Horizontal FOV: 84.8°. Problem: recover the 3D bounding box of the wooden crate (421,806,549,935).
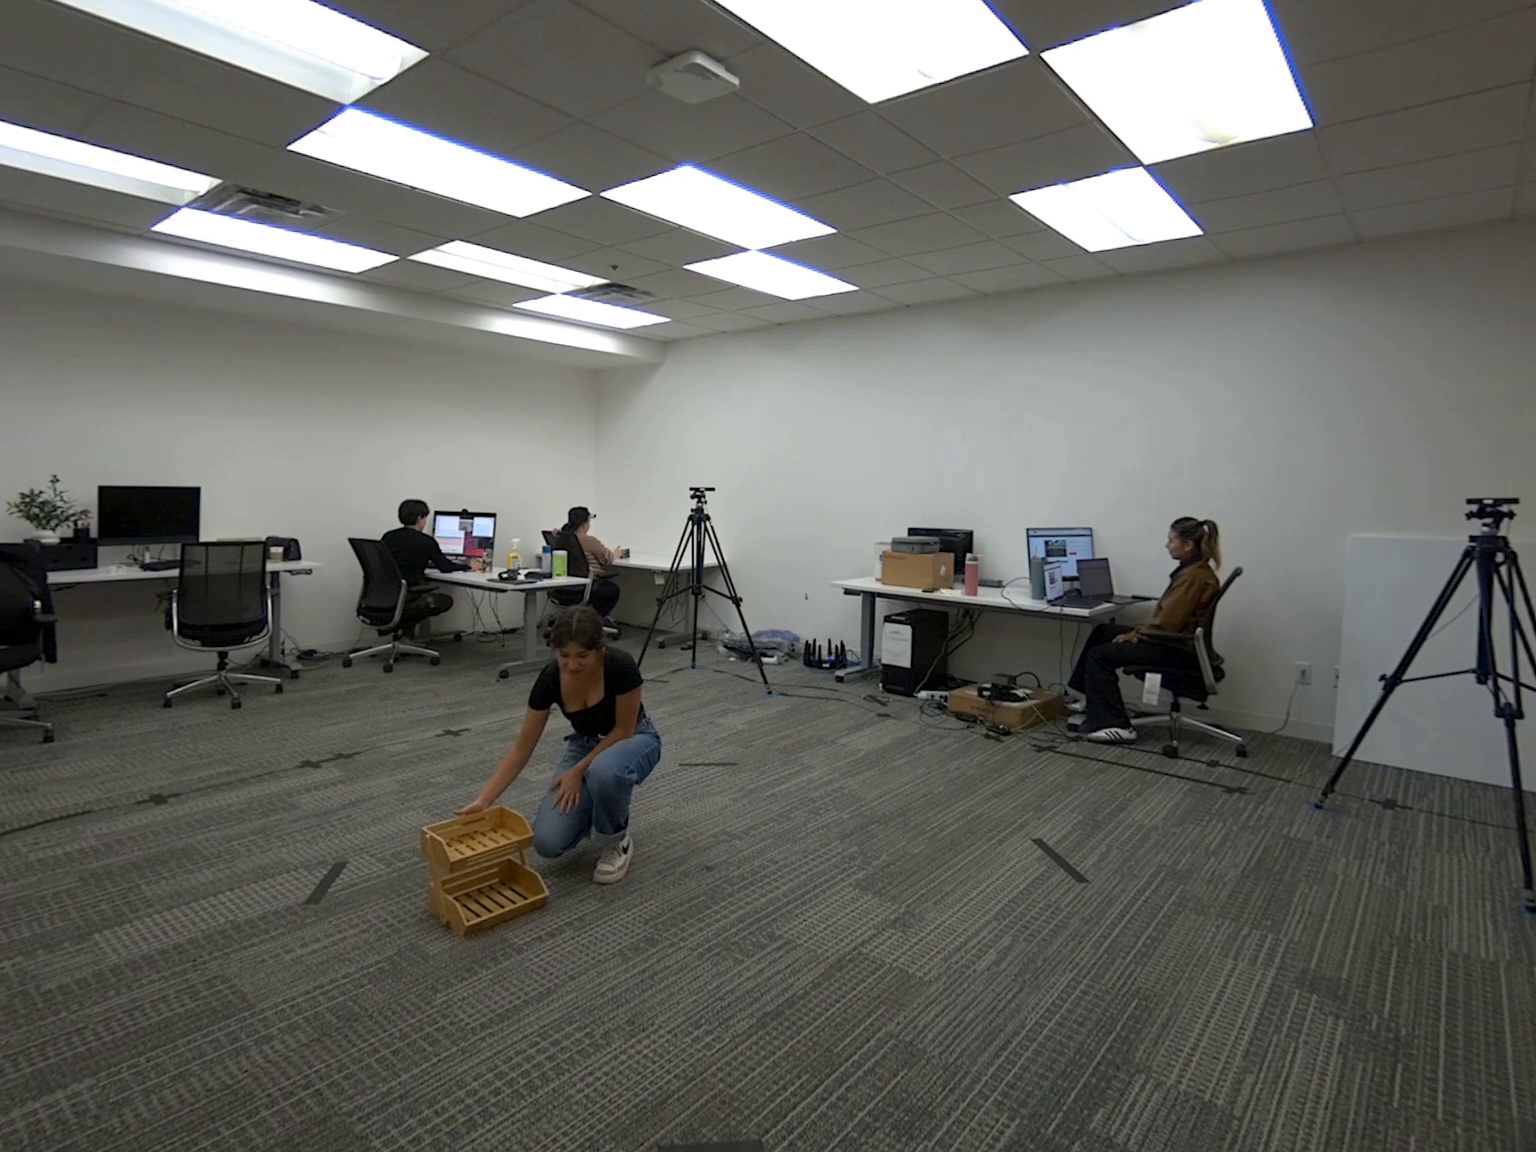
[{"bbox_3d":[-0.934,0.950,2.794,0.312,0.272,0.315,4,6,43],"label":"wooden crate"}]
